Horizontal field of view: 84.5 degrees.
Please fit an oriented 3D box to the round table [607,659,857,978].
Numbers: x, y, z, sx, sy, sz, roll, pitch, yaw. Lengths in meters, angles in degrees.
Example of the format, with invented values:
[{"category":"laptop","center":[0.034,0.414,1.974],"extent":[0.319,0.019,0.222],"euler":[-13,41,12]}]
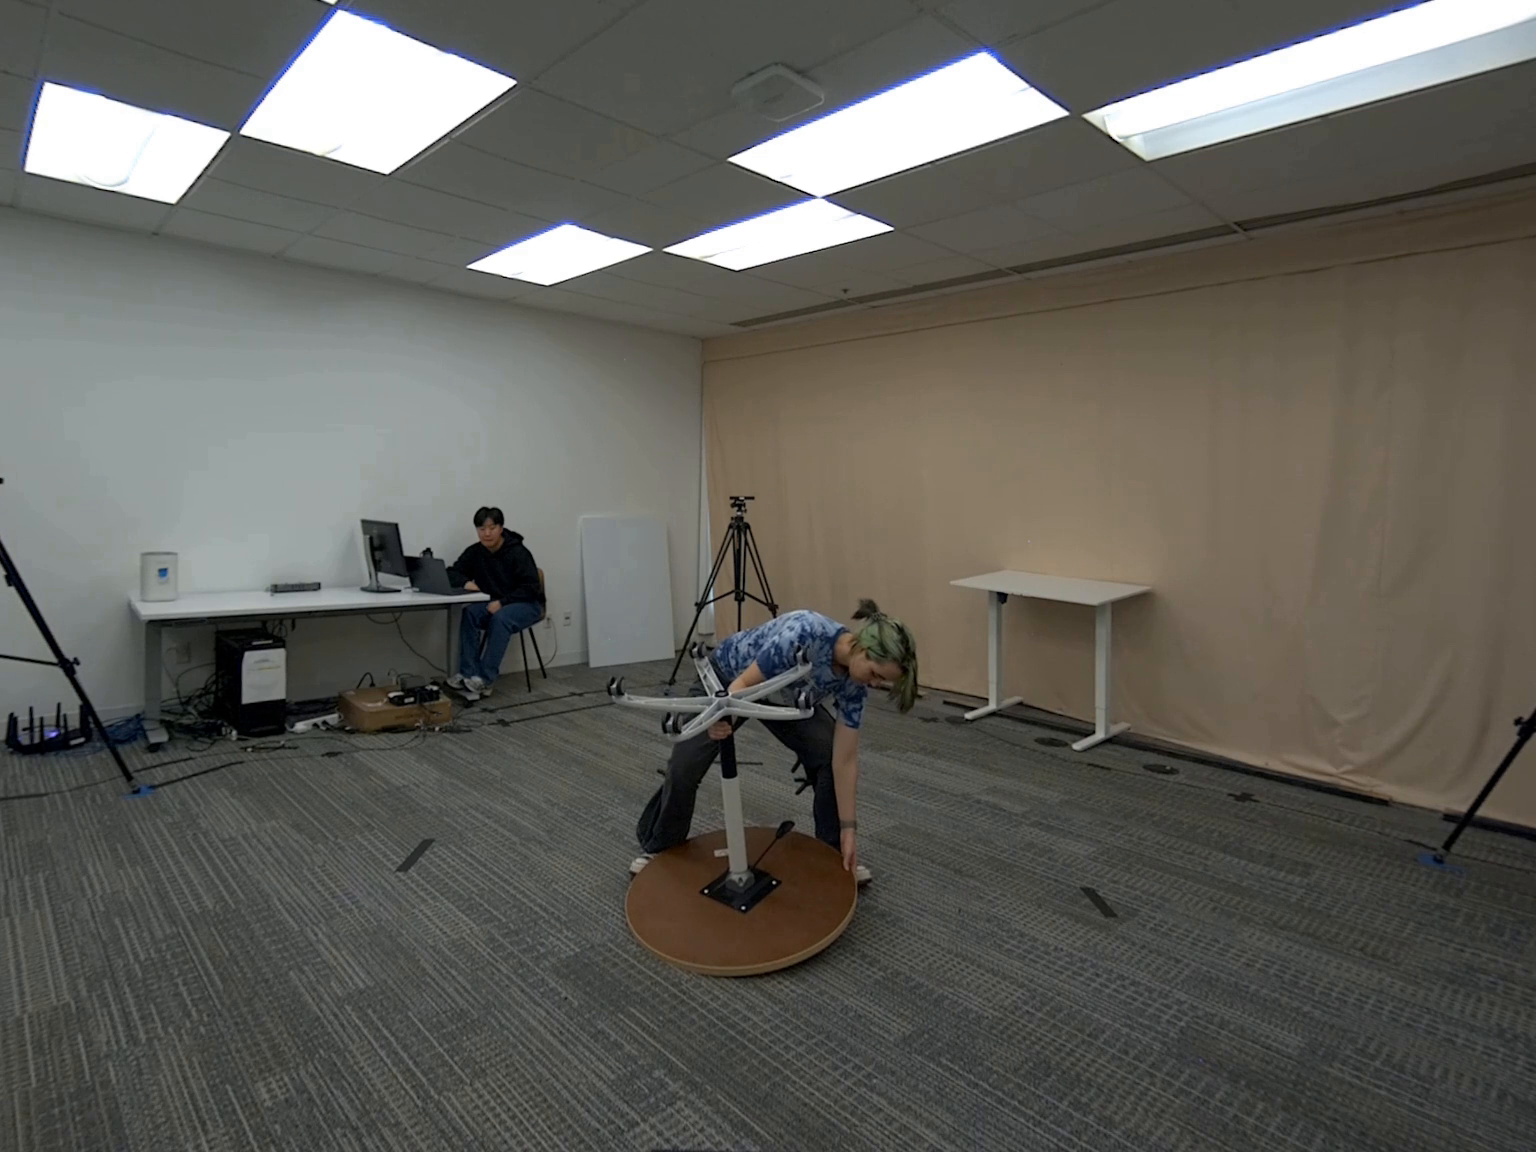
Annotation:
[{"category":"round table","center":[-0.135,0.693,2.719],"extent":[0.764,0.786,0.771],"euler":[-5,13,0]}]
